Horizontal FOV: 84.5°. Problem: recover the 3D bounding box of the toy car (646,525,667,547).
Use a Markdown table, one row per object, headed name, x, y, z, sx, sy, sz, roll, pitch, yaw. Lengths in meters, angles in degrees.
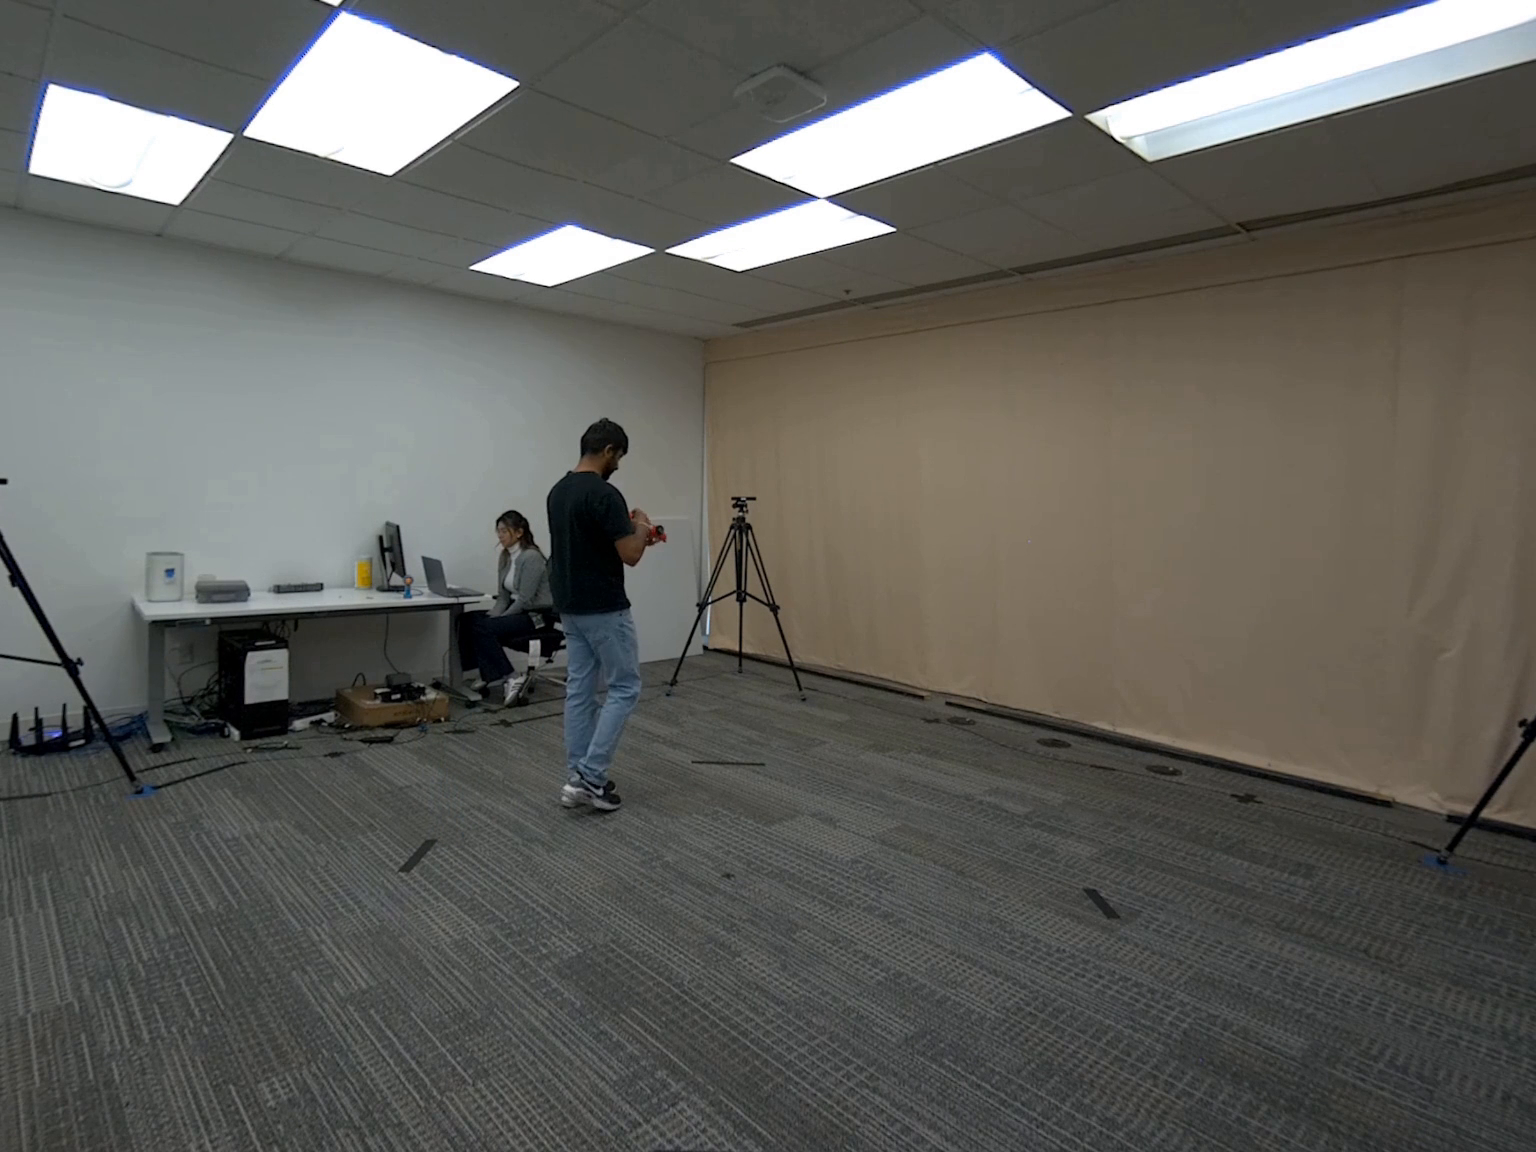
| name | x | y | z | sx | sy | sz | roll | pitch | yaw |
| --- | --- | --- | --- | --- | --- | --- | --- | --- | --- |
| toy car | -0.607 | -0.233 | 4.013 | 0.133 | 0.083 | 0.247 | 4 | -31 | 48 |
